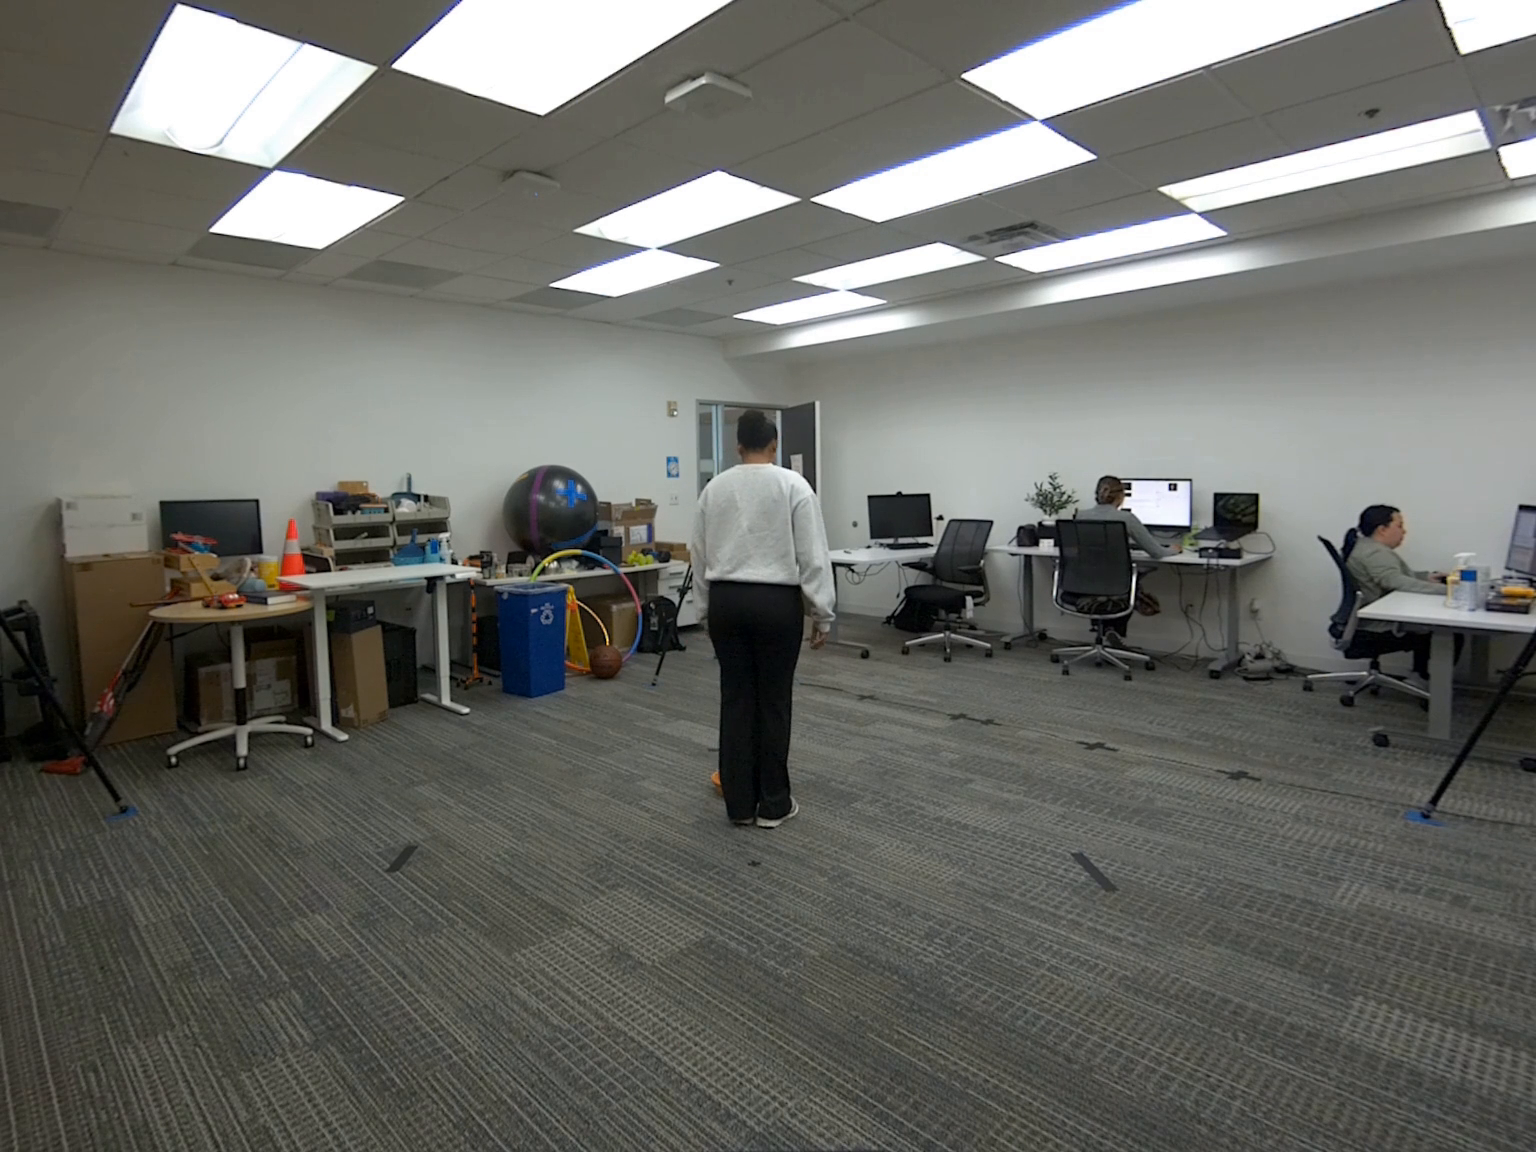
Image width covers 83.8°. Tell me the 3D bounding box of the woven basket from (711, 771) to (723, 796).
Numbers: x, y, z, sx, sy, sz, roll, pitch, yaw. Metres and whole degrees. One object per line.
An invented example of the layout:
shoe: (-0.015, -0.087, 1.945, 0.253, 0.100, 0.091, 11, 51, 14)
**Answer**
woven basket: (-0.078, 0.929, 3.810, 0.356, 0.073, 0.249, 0, 6, 16)
